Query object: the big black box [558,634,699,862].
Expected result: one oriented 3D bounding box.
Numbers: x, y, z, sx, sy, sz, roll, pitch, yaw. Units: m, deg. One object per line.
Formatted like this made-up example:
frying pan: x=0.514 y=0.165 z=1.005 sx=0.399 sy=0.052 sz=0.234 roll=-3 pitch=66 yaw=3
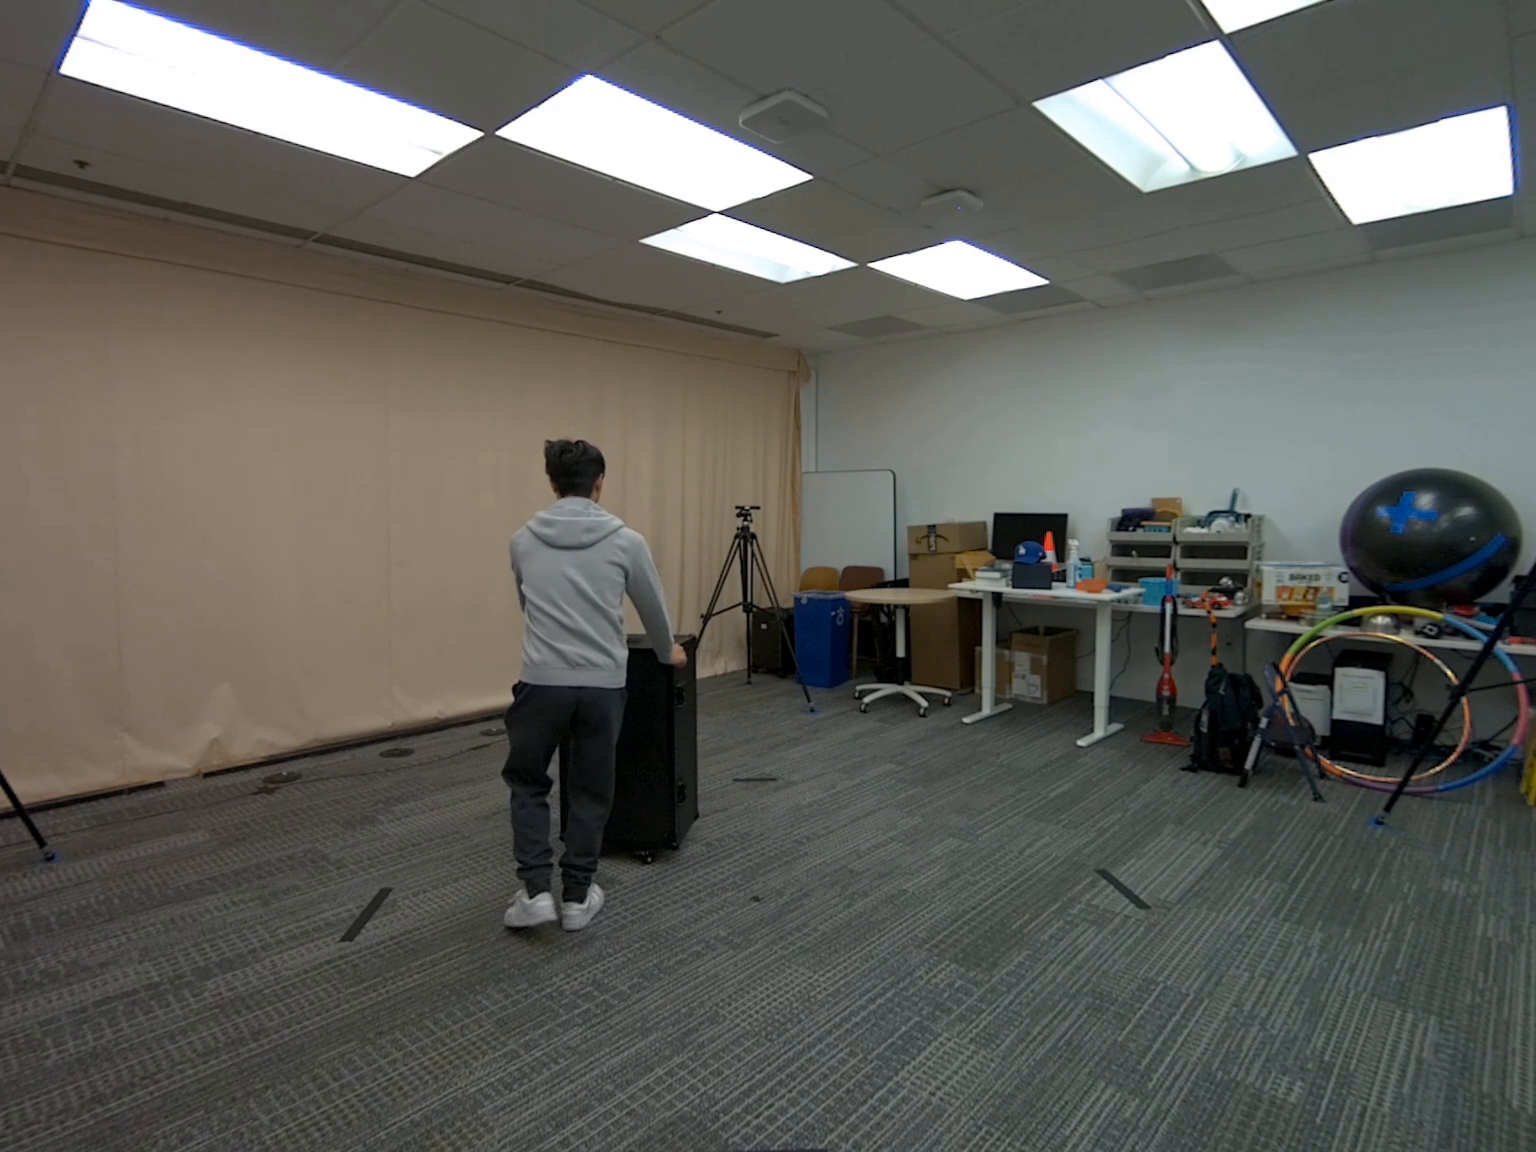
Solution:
big black box: x=-0.562 y=0.687 z=3.461 sx=0.529 sy=0.860 sz=0.391 roll=1 pitch=3 yaw=12
